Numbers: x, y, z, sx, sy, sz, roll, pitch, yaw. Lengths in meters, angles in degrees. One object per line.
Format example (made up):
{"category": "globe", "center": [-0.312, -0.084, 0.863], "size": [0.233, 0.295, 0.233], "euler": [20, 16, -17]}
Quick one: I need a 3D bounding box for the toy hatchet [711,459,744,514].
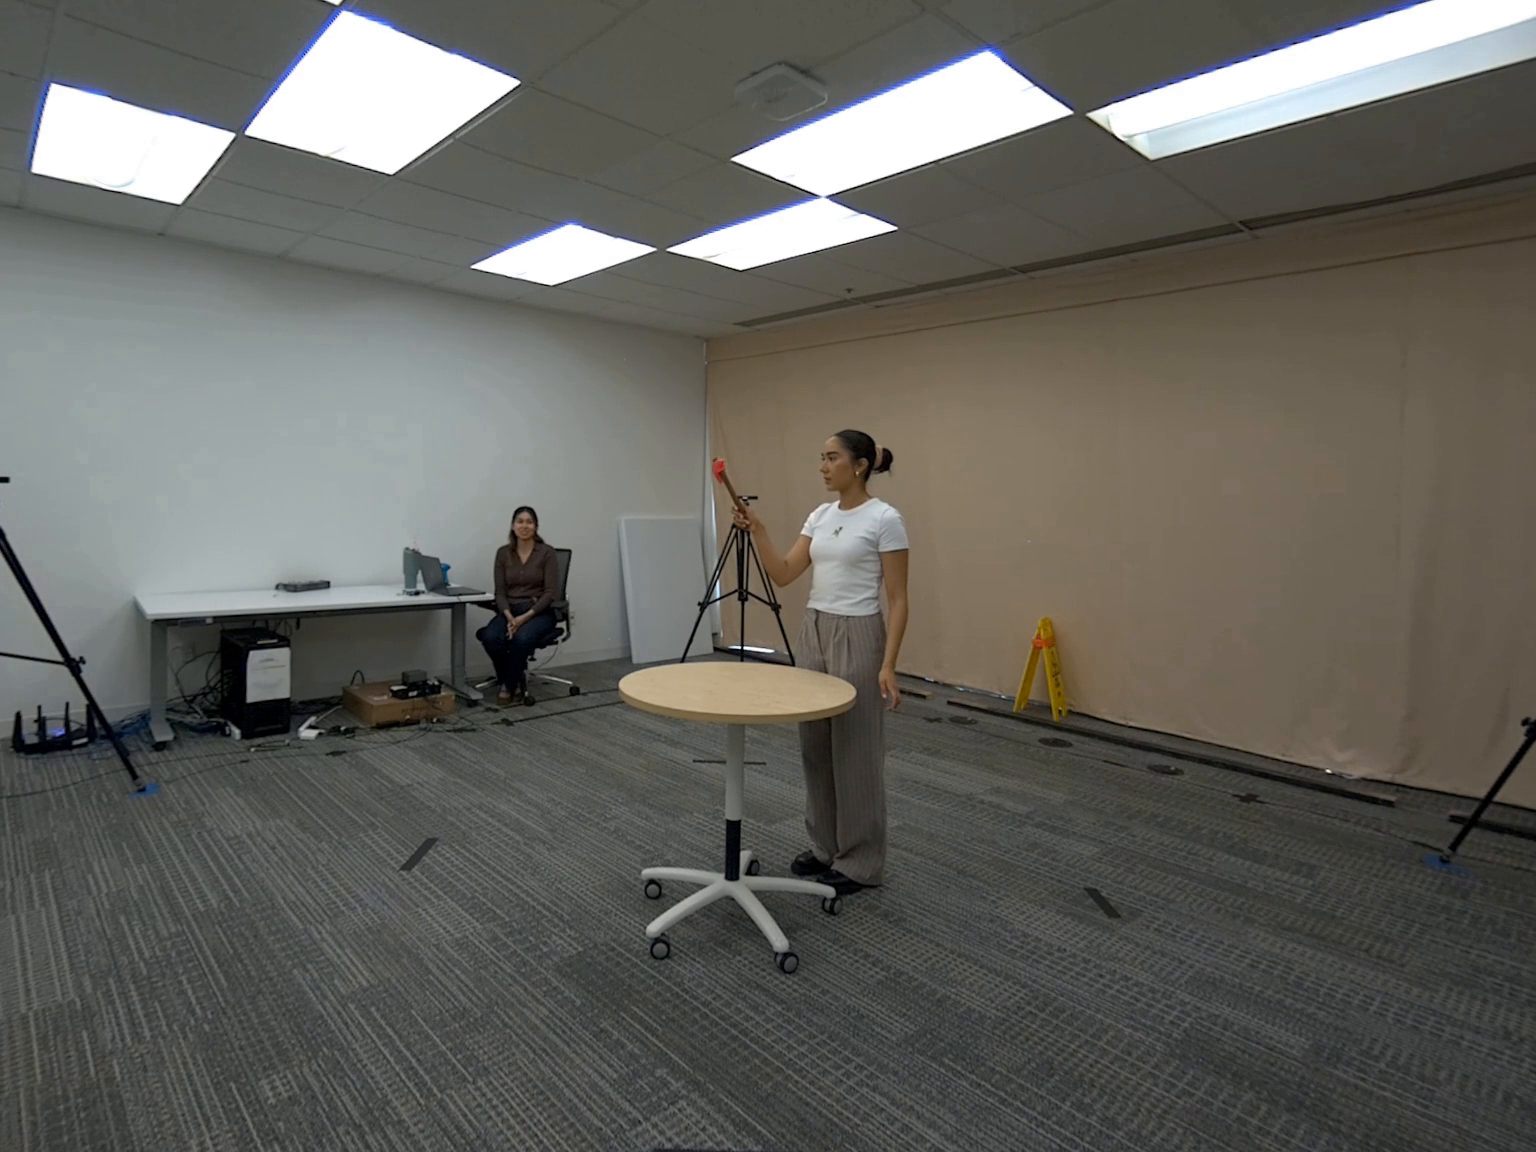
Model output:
{"category": "toy hatchet", "center": [-0.142, -0.295, 2.990], "size": [0.029, 0.267, 0.133], "euler": [-26, 12, -23]}
